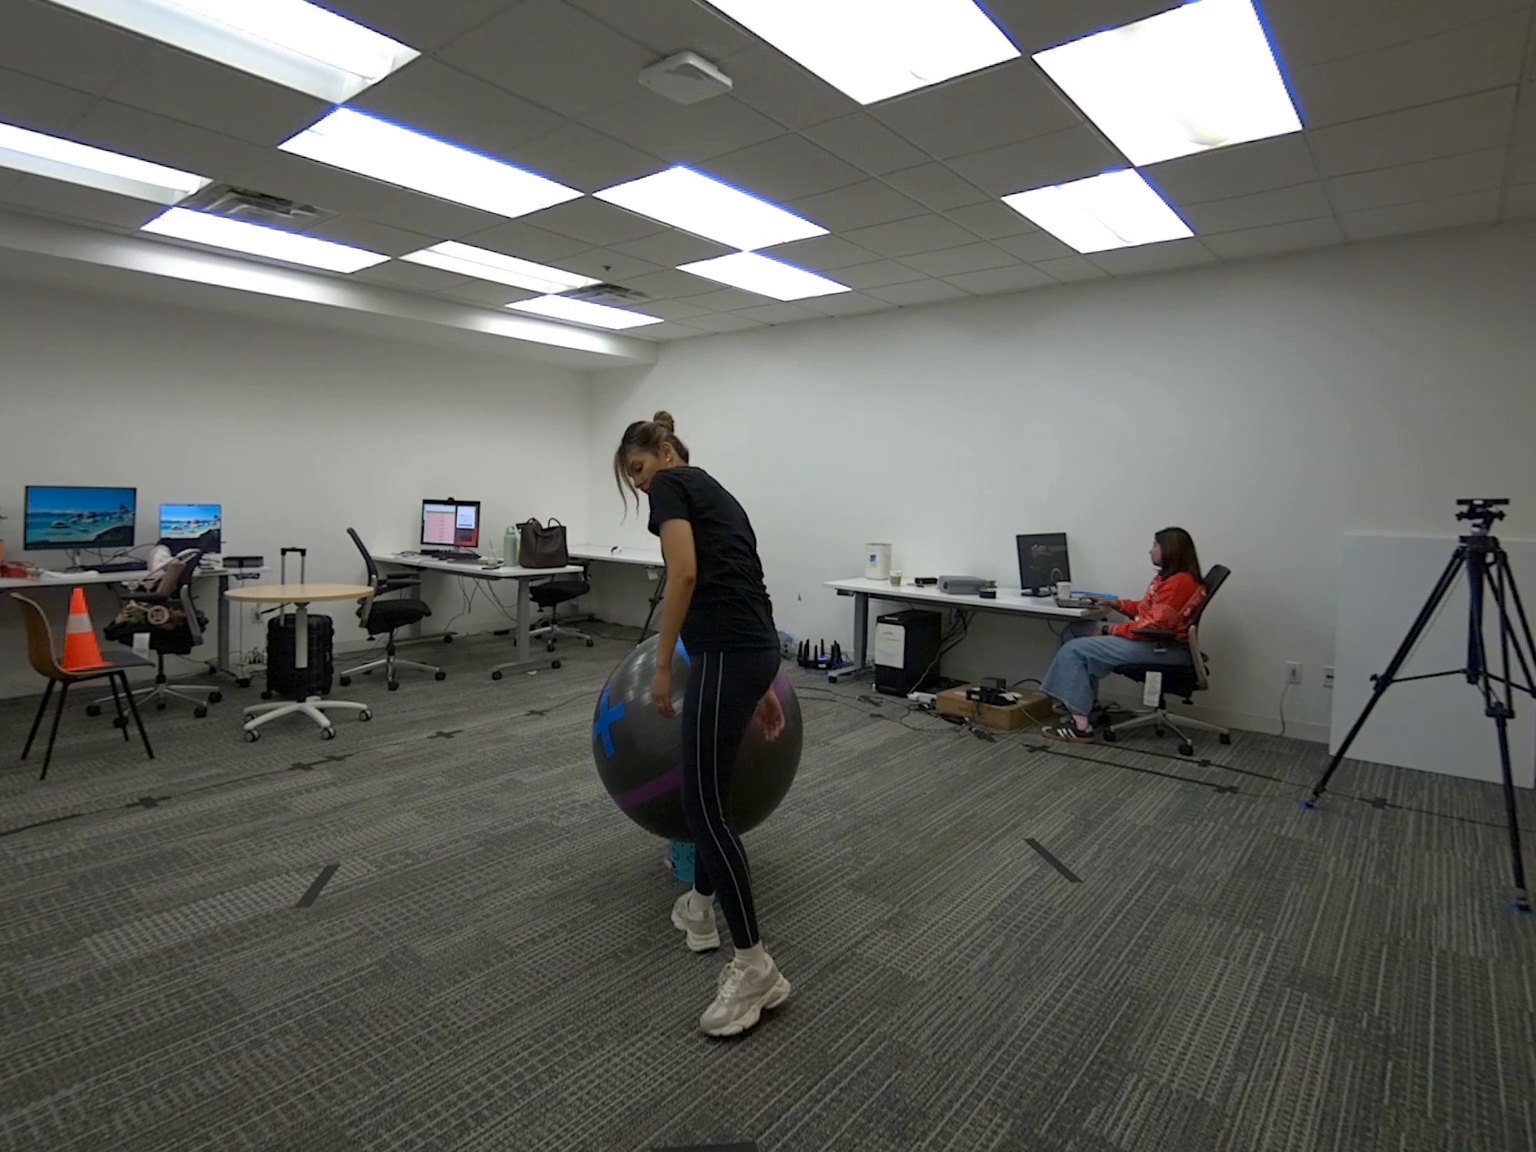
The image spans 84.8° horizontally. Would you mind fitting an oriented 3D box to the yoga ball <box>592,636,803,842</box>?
[{"bbox_3d":[-0.263,0.565,3.065,0.757,0.755,0.762,1,4,-2],"label":"yoga ball"}]
